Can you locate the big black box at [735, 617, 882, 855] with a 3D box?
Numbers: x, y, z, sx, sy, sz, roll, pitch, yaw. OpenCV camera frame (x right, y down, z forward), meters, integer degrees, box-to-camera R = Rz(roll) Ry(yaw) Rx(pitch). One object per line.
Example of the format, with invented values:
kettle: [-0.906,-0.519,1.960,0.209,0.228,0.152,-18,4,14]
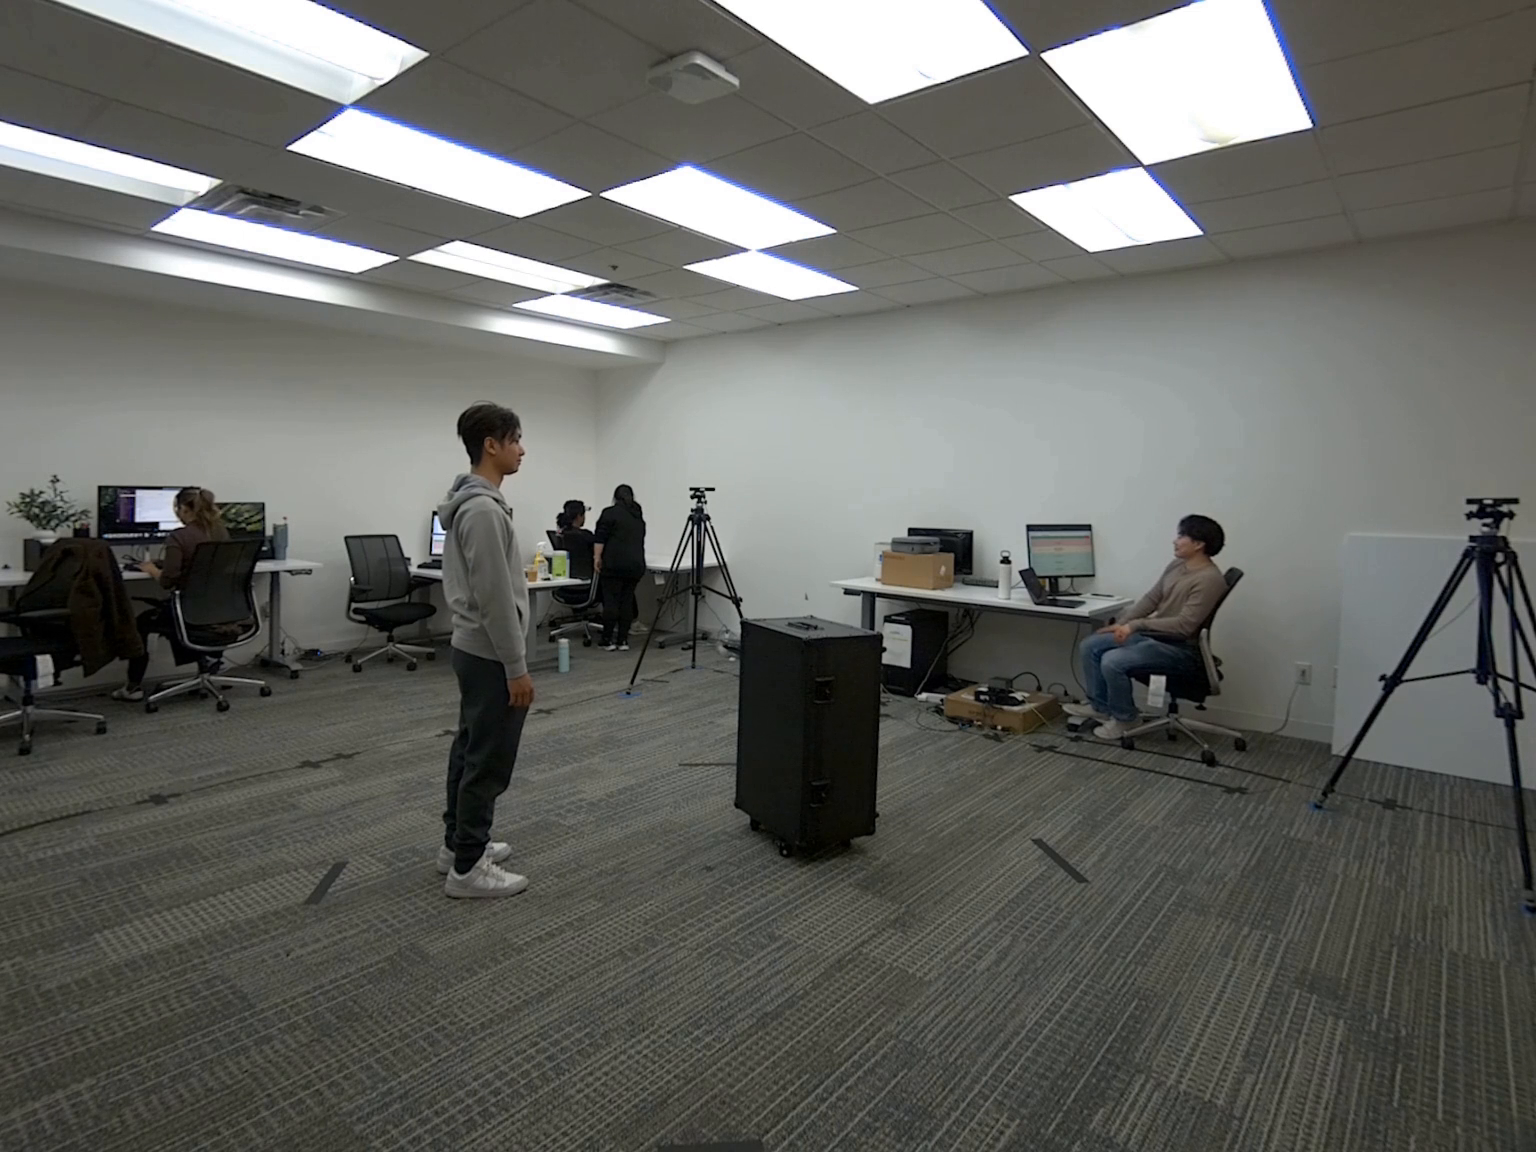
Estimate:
big black box: [0.148,0.623,3.403,0.385,0.860,0.537,1,3,-31]
